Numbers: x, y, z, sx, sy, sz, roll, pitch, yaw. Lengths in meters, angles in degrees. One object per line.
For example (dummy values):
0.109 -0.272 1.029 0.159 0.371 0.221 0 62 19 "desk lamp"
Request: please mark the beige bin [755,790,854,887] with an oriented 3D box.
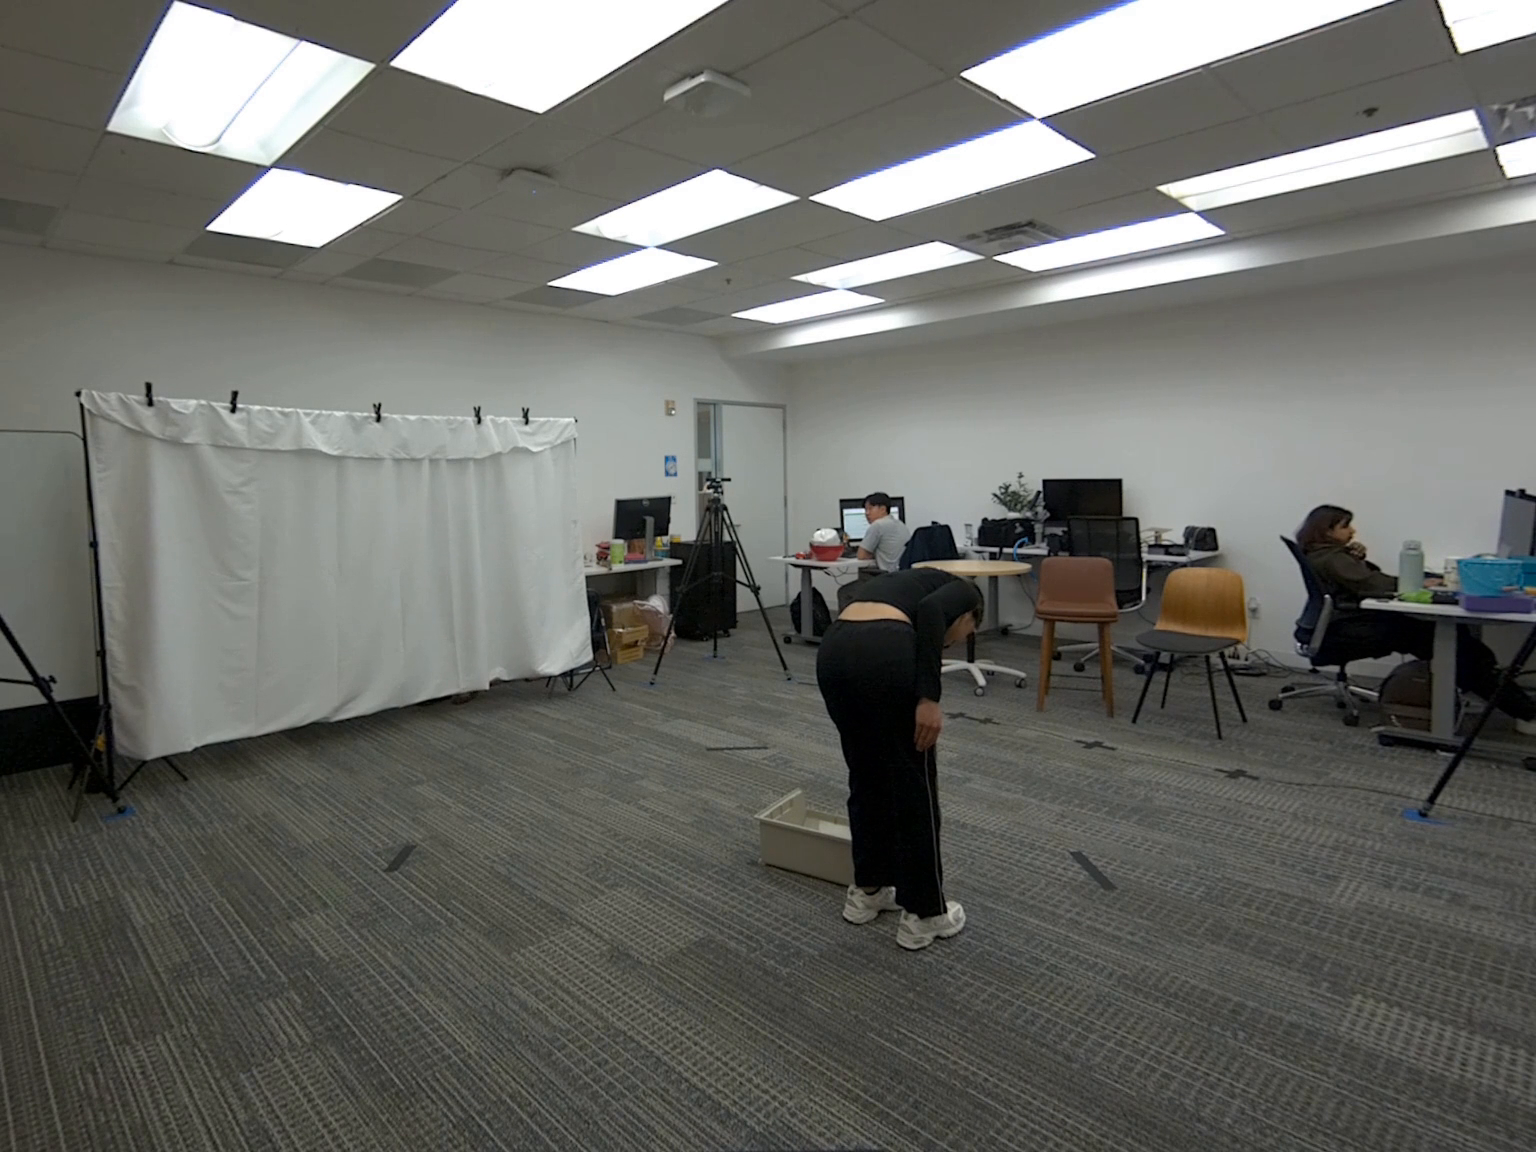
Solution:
0.226 0.950 3.122 0.434 0.188 0.369 4 8 32 "beige bin"
